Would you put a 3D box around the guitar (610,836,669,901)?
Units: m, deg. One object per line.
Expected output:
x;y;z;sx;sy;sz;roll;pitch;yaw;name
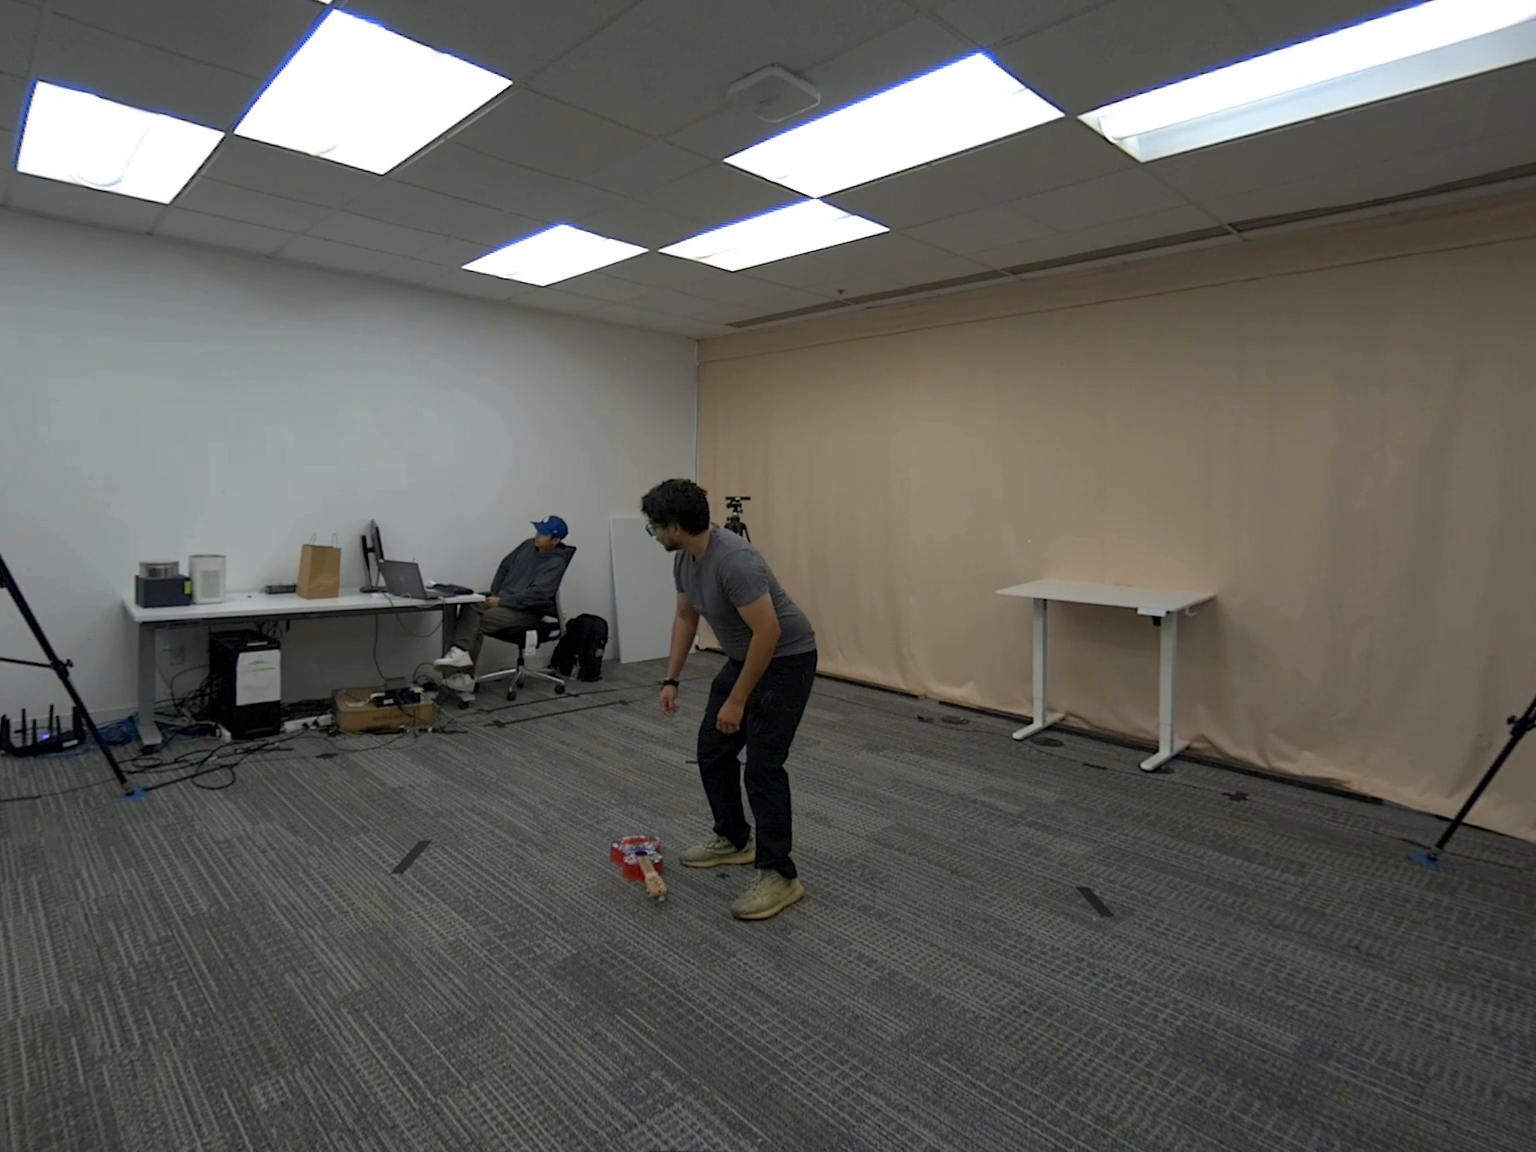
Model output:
-0.480;1.067;3.067;0.191;0.070;0.503;1;5;-11;guitar
